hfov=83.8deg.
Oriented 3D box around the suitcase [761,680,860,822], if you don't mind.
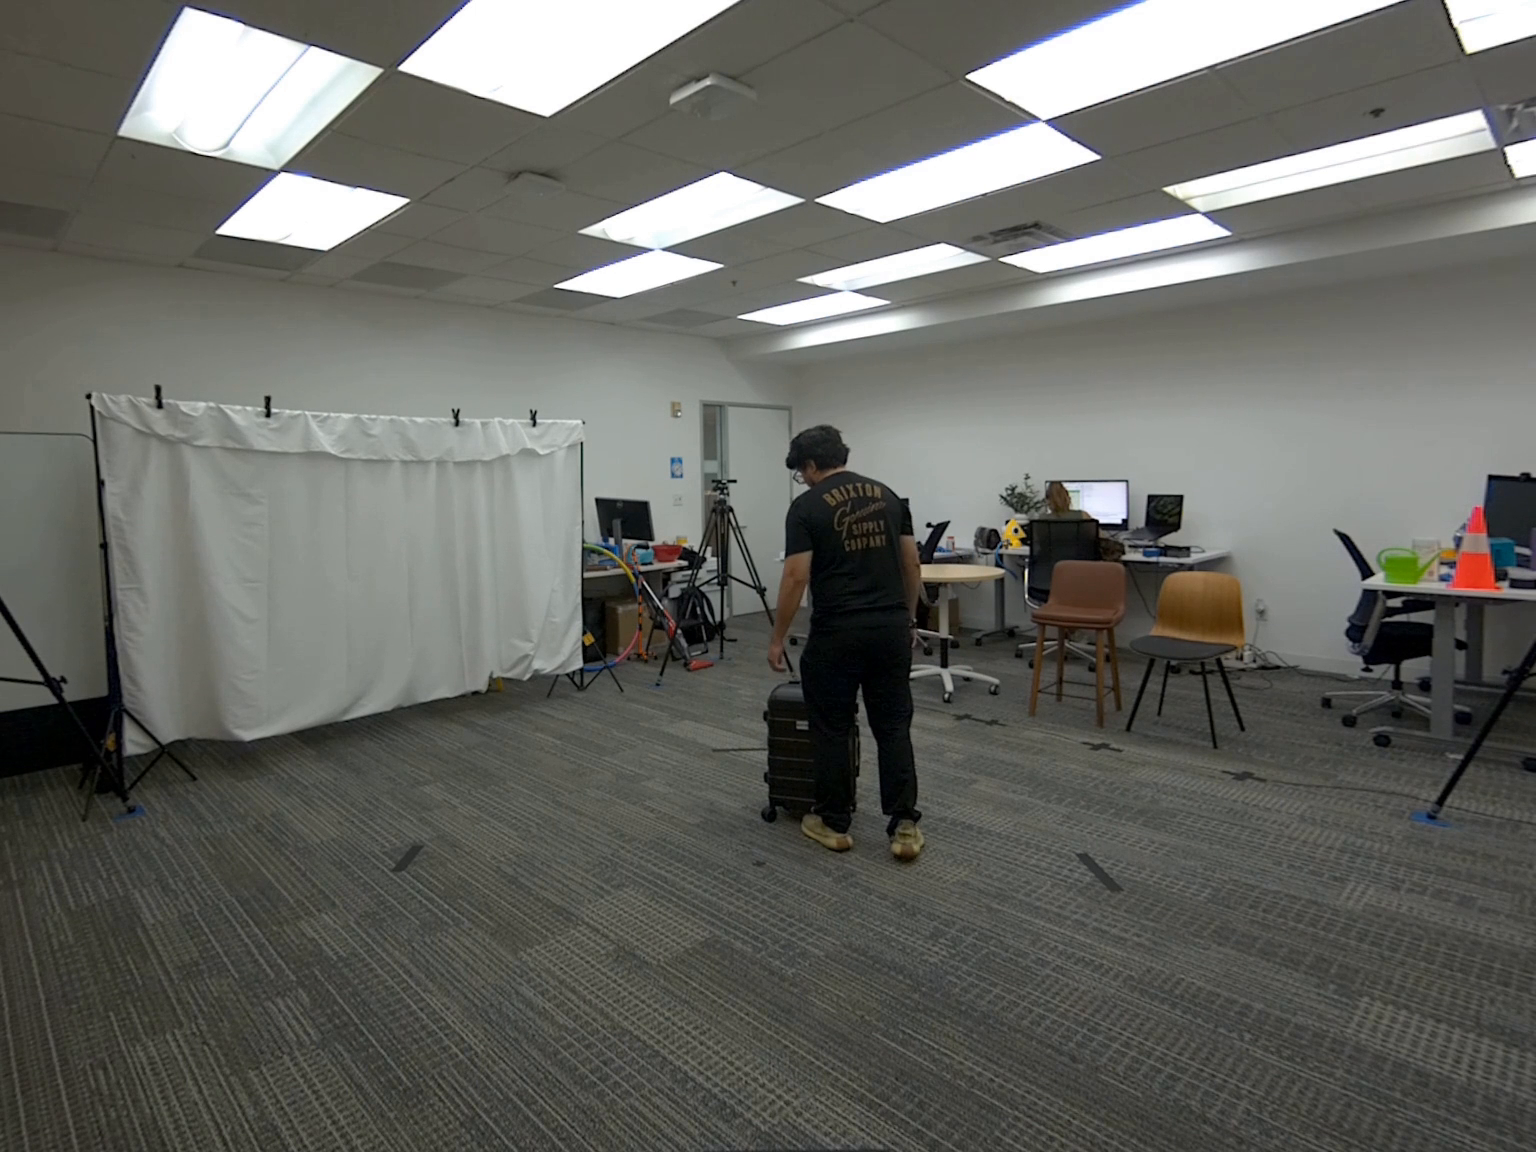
[{"bbox_3d":[0.186,0.716,3.545,0.382,0.548,0.245,2,4,18],"label":"suitcase"}]
